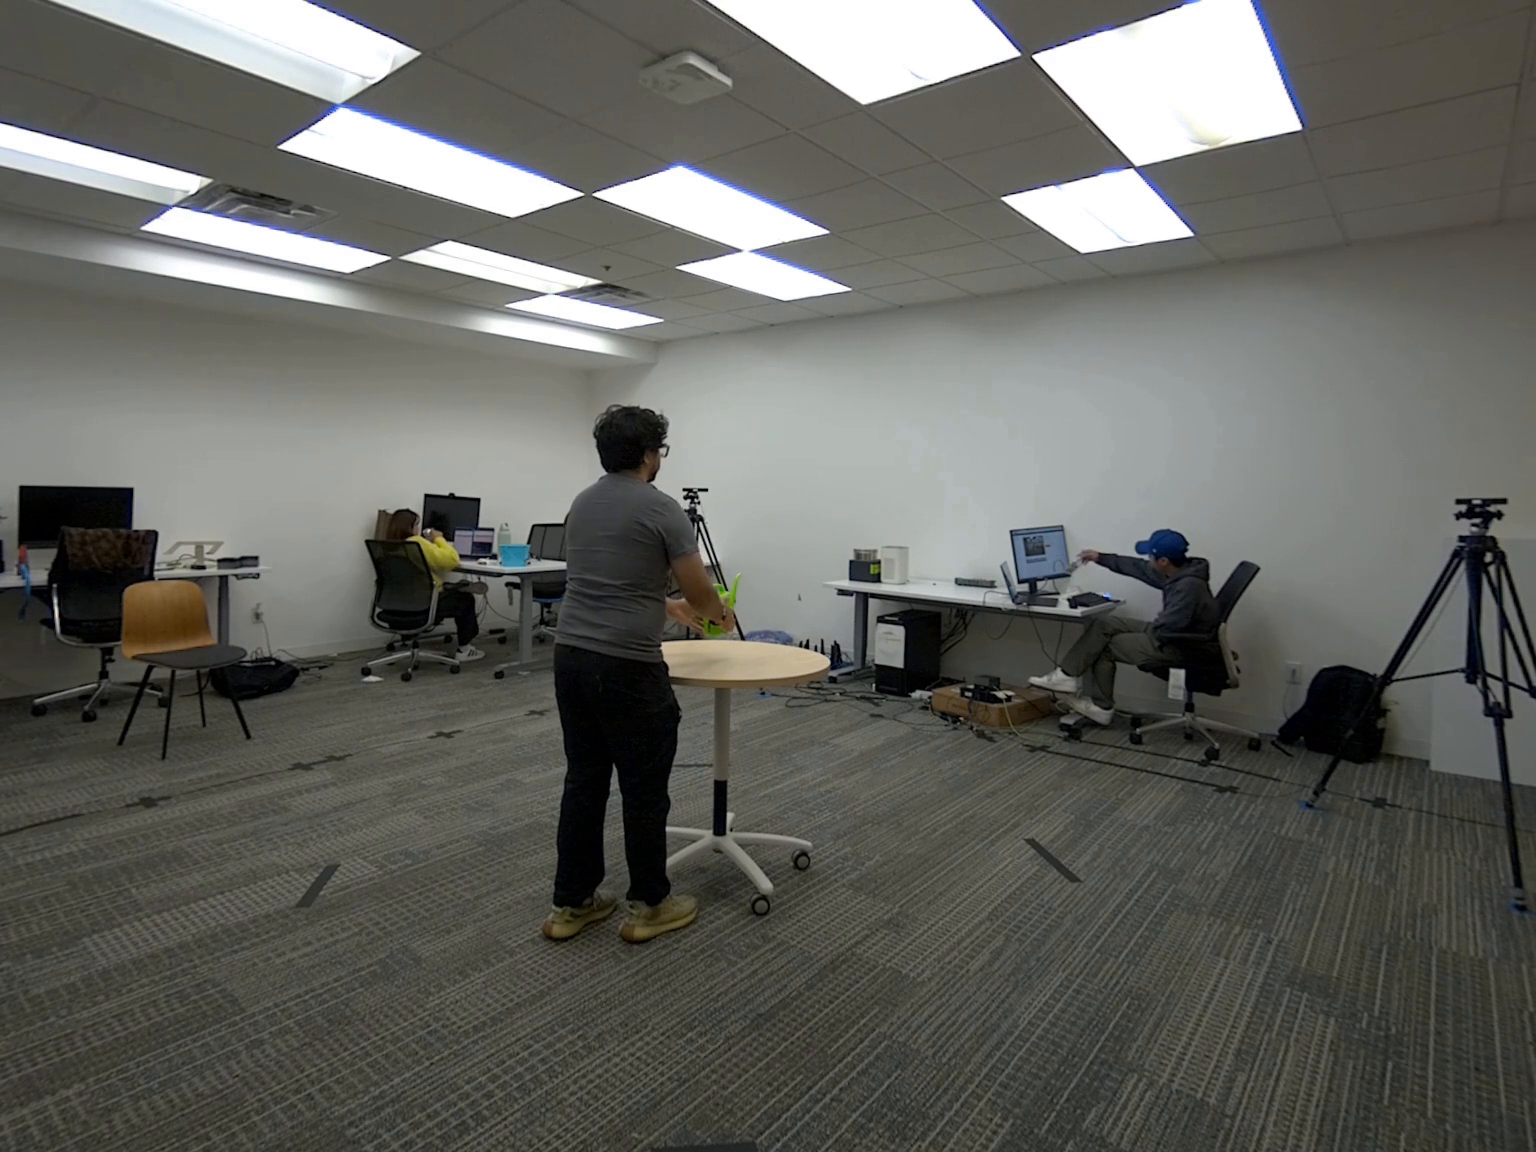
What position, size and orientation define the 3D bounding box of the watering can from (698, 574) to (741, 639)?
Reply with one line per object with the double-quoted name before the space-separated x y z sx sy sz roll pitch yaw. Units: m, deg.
"watering can" -0.159 0.109 3.070 0.101 0.175 0.272 2 13 44
